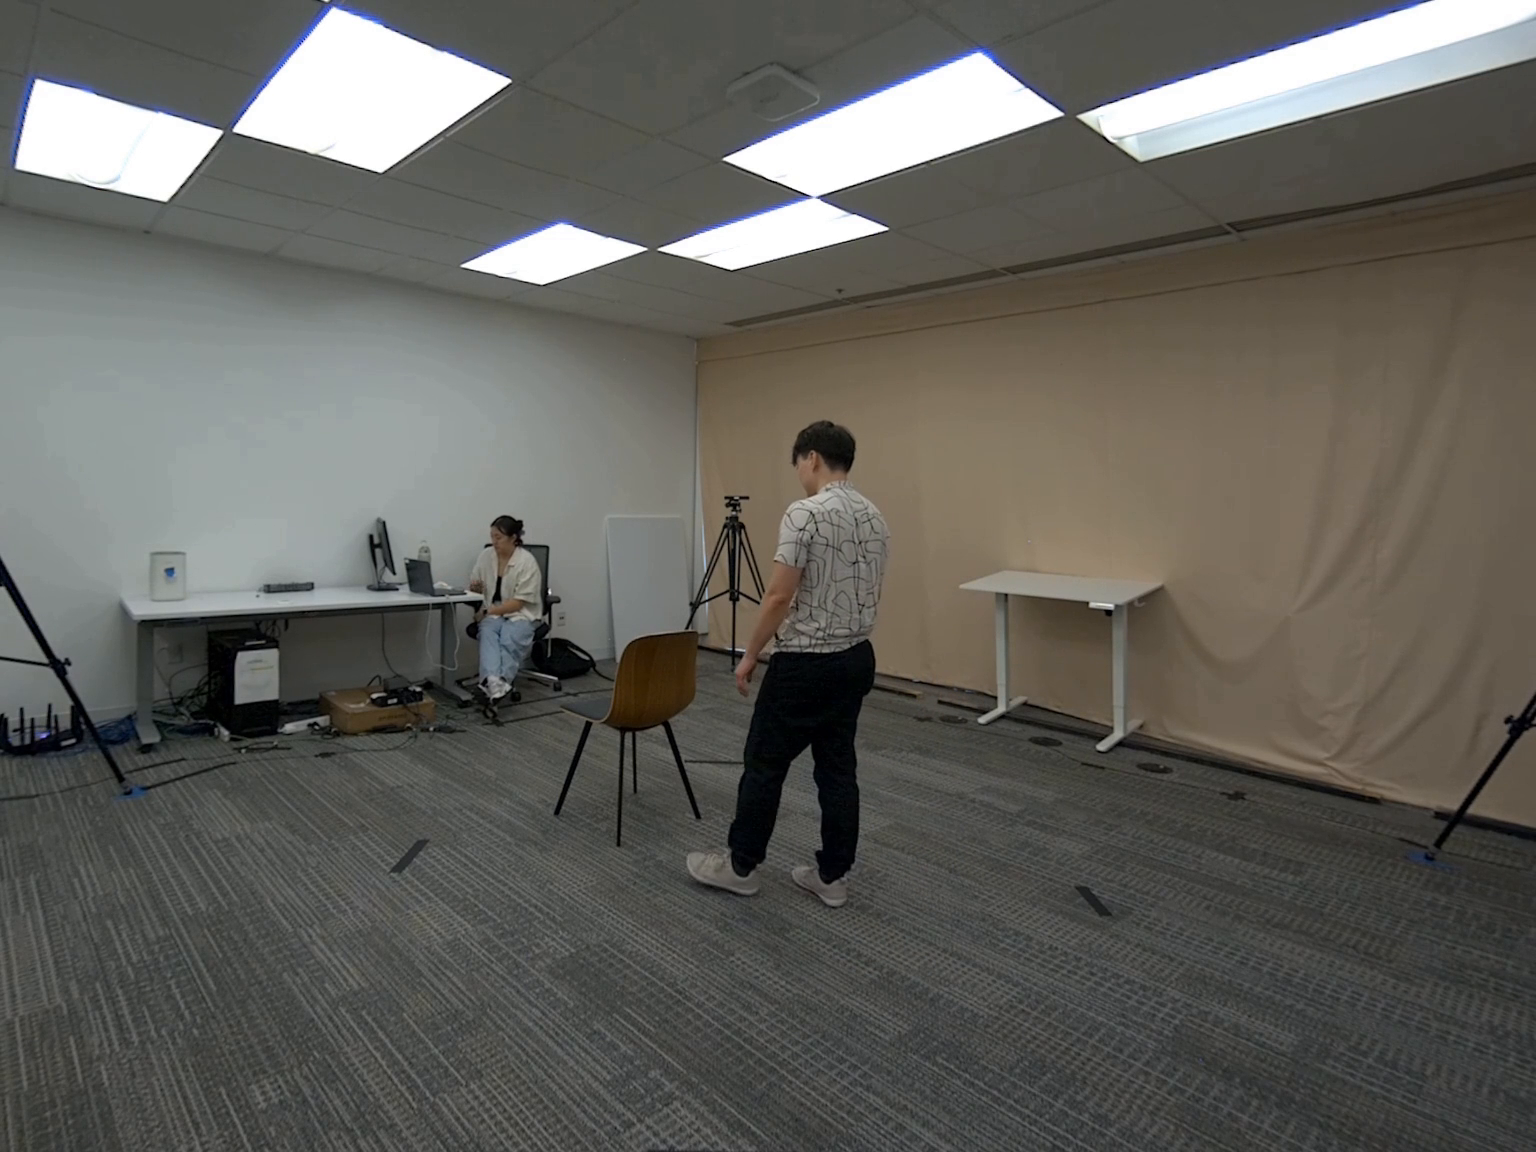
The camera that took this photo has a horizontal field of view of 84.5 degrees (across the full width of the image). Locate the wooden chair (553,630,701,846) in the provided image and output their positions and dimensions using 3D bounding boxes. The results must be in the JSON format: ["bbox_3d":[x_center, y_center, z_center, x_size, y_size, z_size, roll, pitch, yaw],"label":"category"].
[{"bbox_3d":[-0.609,0.619,3.619,0.537,0.873,0.467,11,9,43],"label":"wooden chair"}]
